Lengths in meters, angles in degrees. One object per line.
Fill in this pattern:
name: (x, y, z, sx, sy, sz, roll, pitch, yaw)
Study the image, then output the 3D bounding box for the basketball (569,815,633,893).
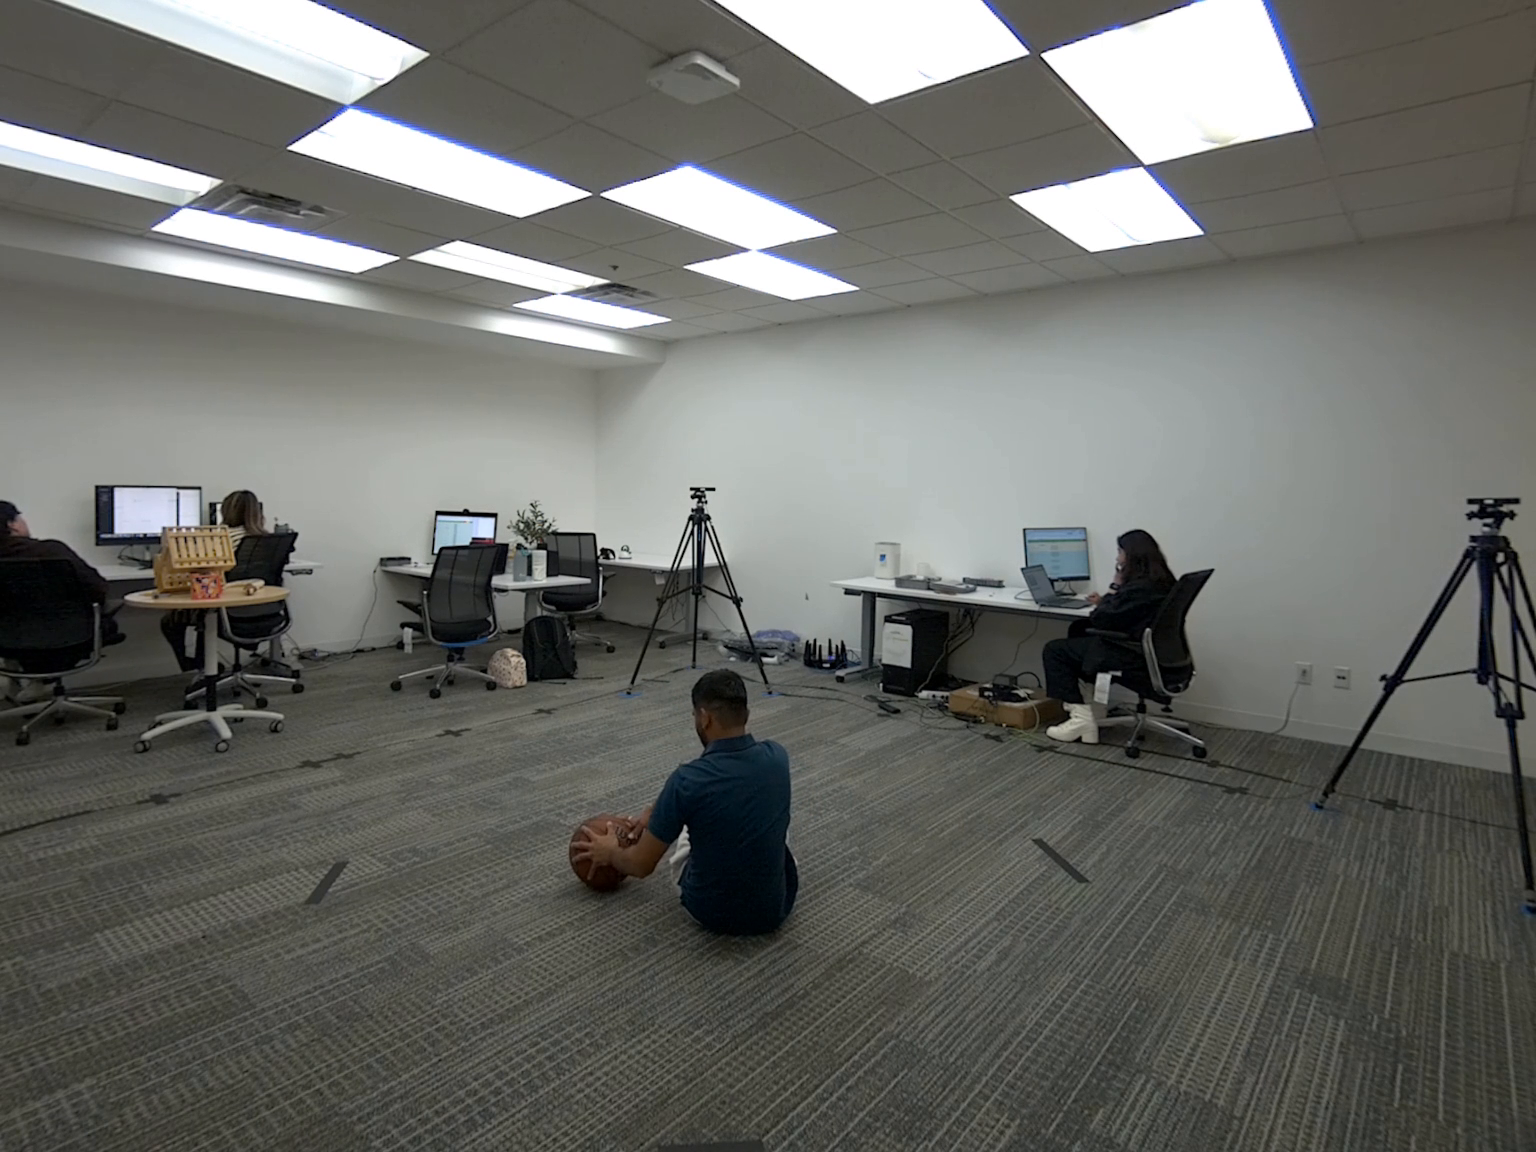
basketball: (-0.587, 0.954, 2.980, 0.235, 0.235, 0.237, 1, 4, -2)
